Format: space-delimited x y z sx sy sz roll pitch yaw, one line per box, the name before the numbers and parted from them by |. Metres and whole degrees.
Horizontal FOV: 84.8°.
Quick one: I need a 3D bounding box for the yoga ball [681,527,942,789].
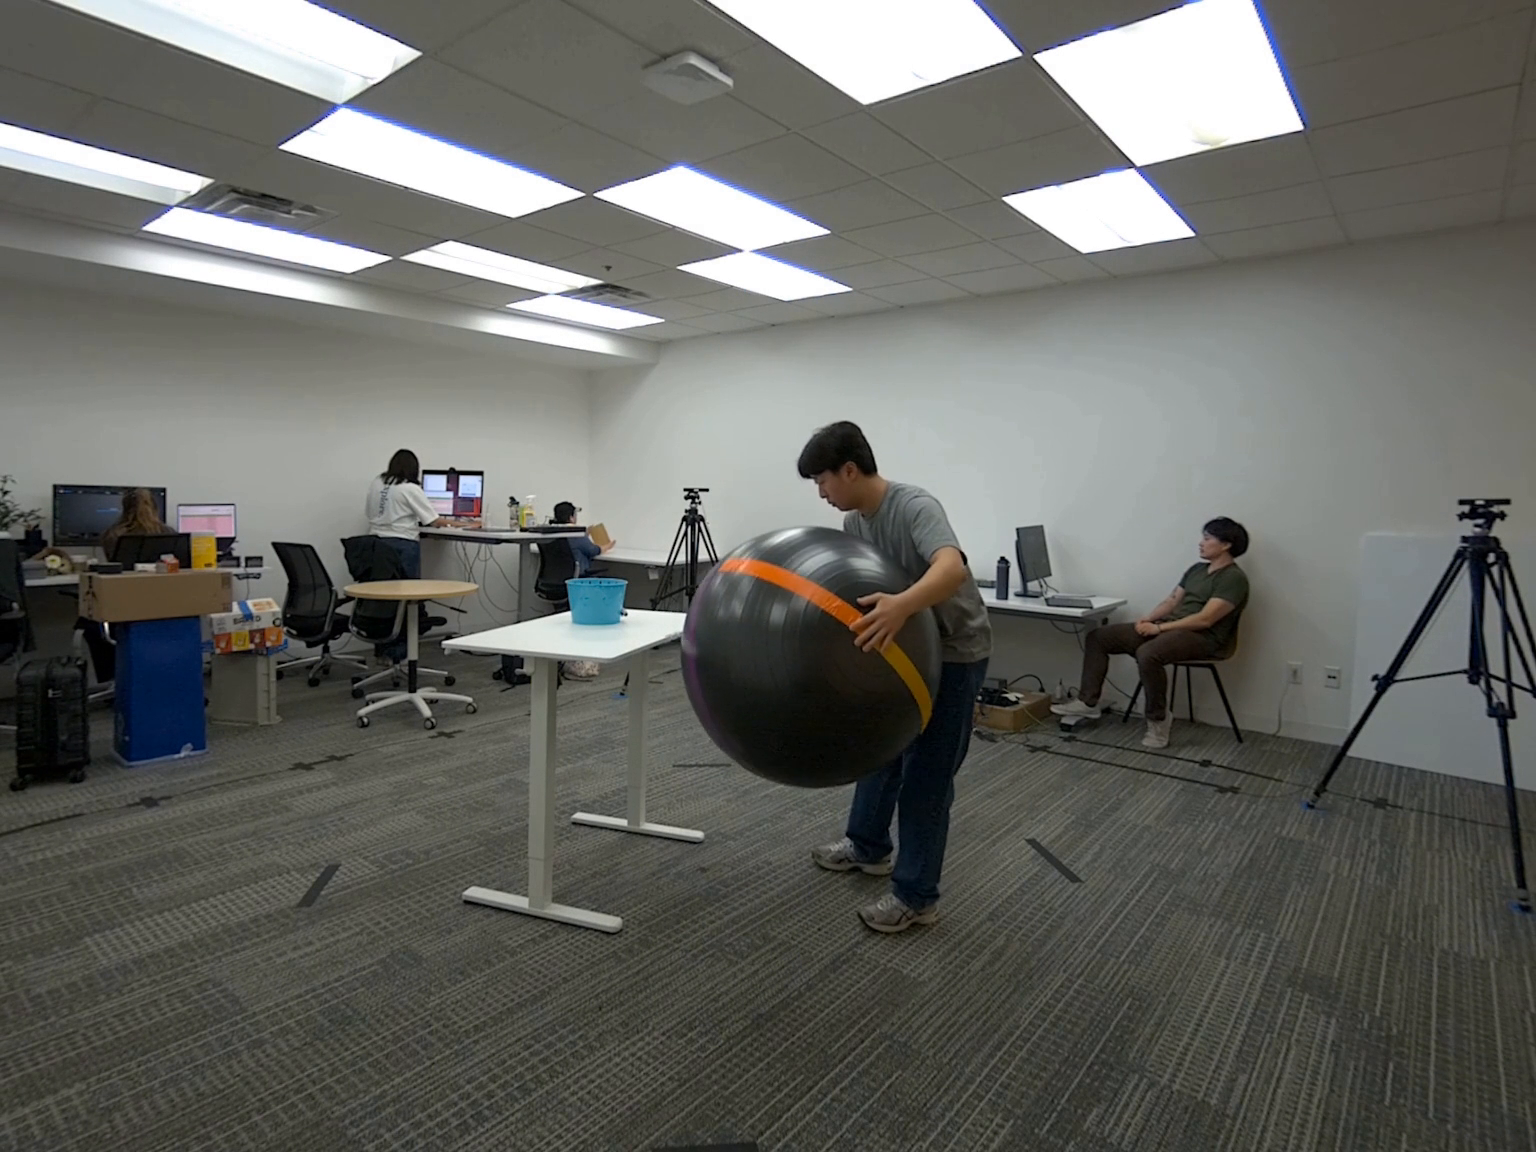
yoga ball | 0.107 0.234 2.517 0.757 0.755 0.762 1 4 -2
